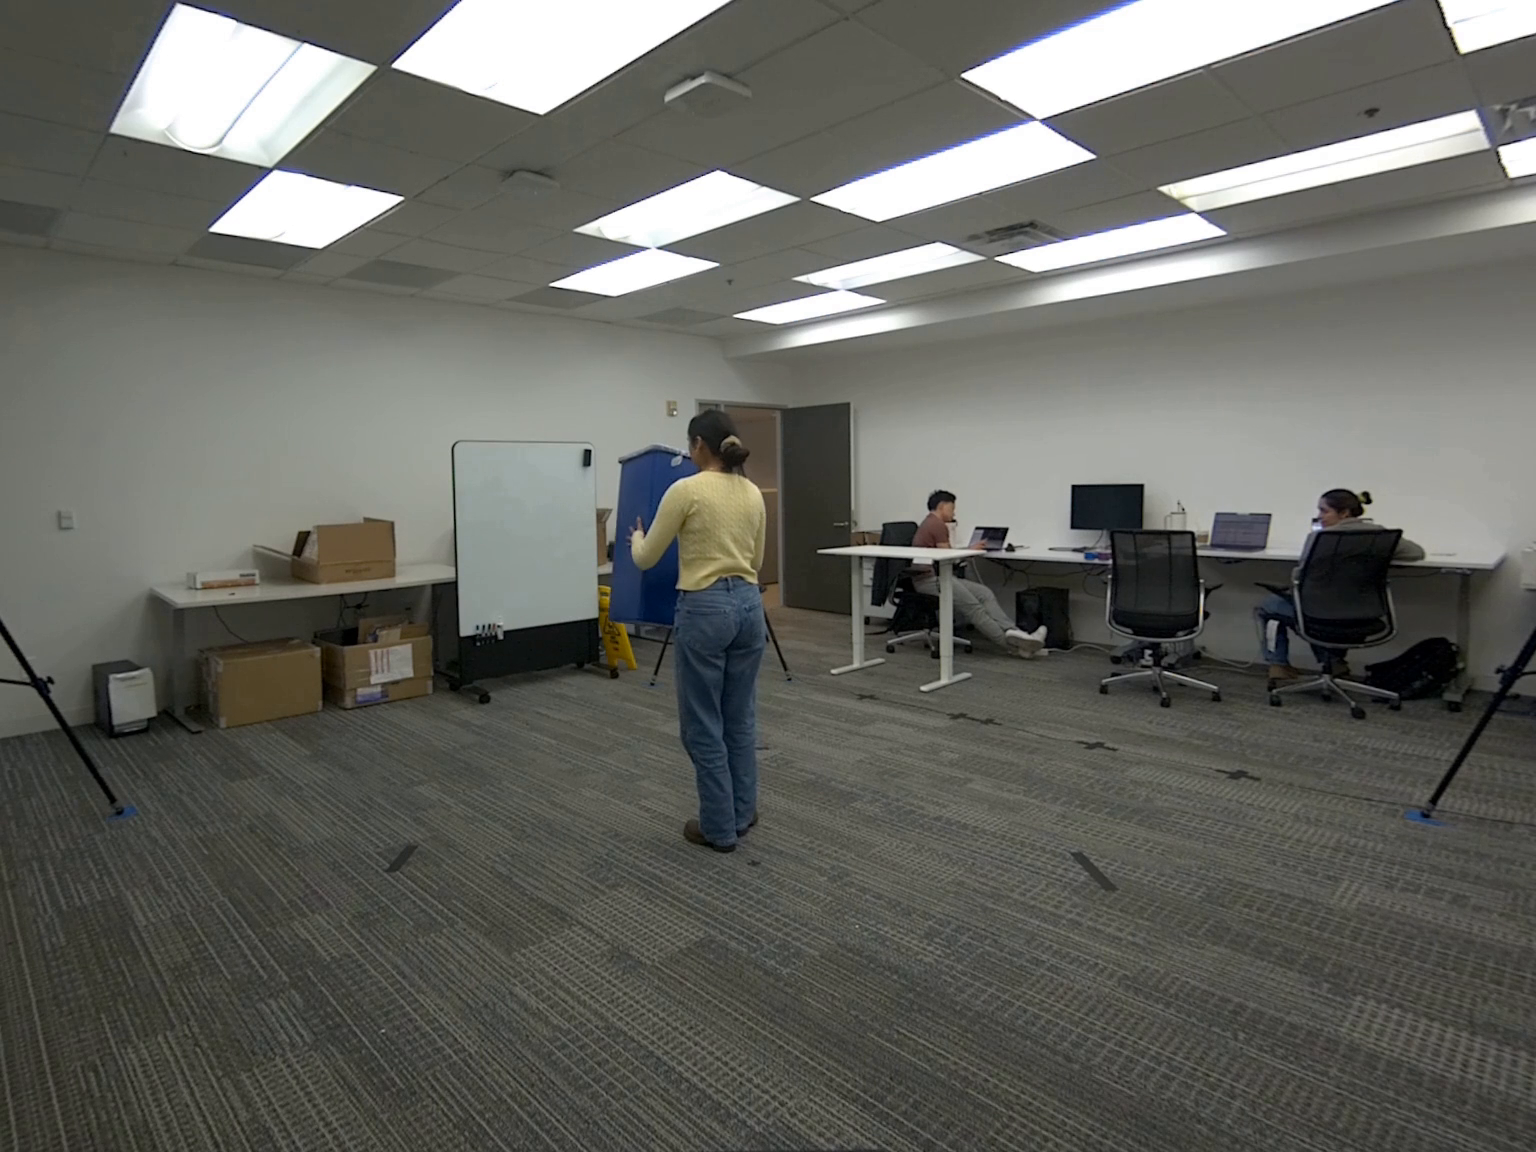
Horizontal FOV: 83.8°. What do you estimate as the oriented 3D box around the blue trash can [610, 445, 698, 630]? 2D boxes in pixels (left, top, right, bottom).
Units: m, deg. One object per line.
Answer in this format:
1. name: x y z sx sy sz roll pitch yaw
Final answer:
1. blue trash can: -0.444 -0.150 3.616 0.367 0.719 0.383 11 -10 -33
